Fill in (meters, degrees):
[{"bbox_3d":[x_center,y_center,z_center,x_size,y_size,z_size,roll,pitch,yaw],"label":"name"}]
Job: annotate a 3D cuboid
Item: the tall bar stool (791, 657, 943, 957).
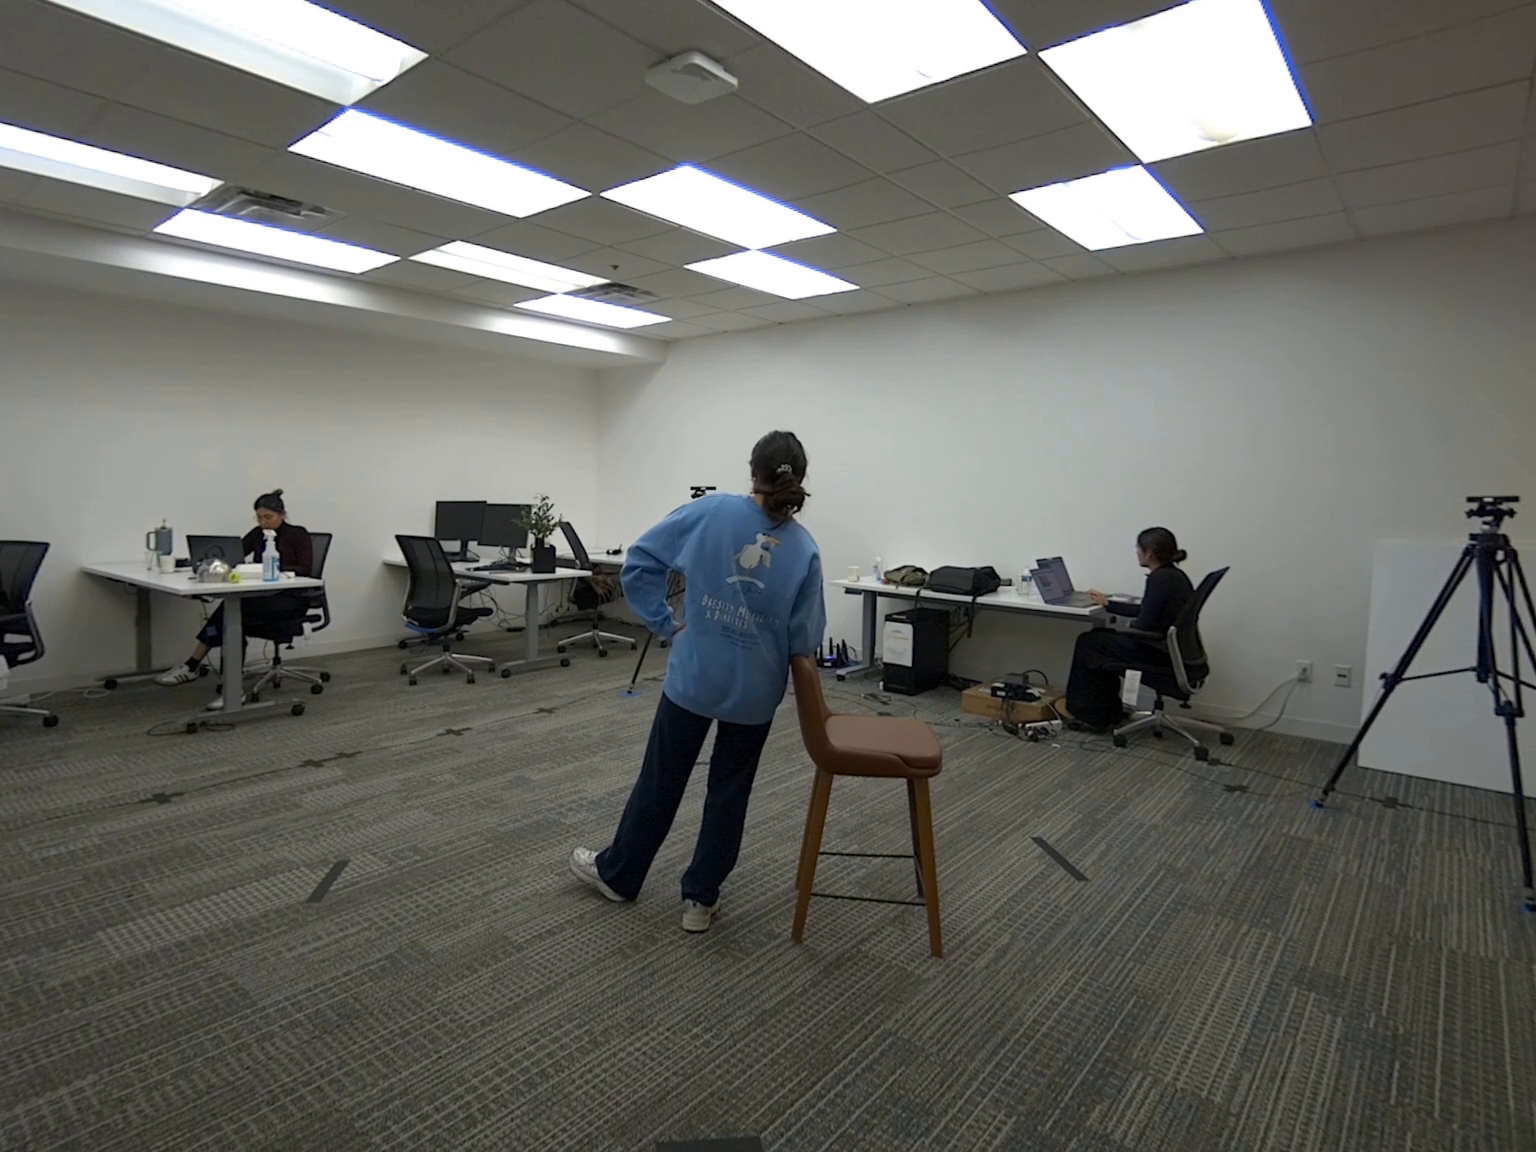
[{"bbox_3d":[0.311,0.677,2.747,0.471,0.888,0.454,0,3,6],"label":"tall bar stool"}]
